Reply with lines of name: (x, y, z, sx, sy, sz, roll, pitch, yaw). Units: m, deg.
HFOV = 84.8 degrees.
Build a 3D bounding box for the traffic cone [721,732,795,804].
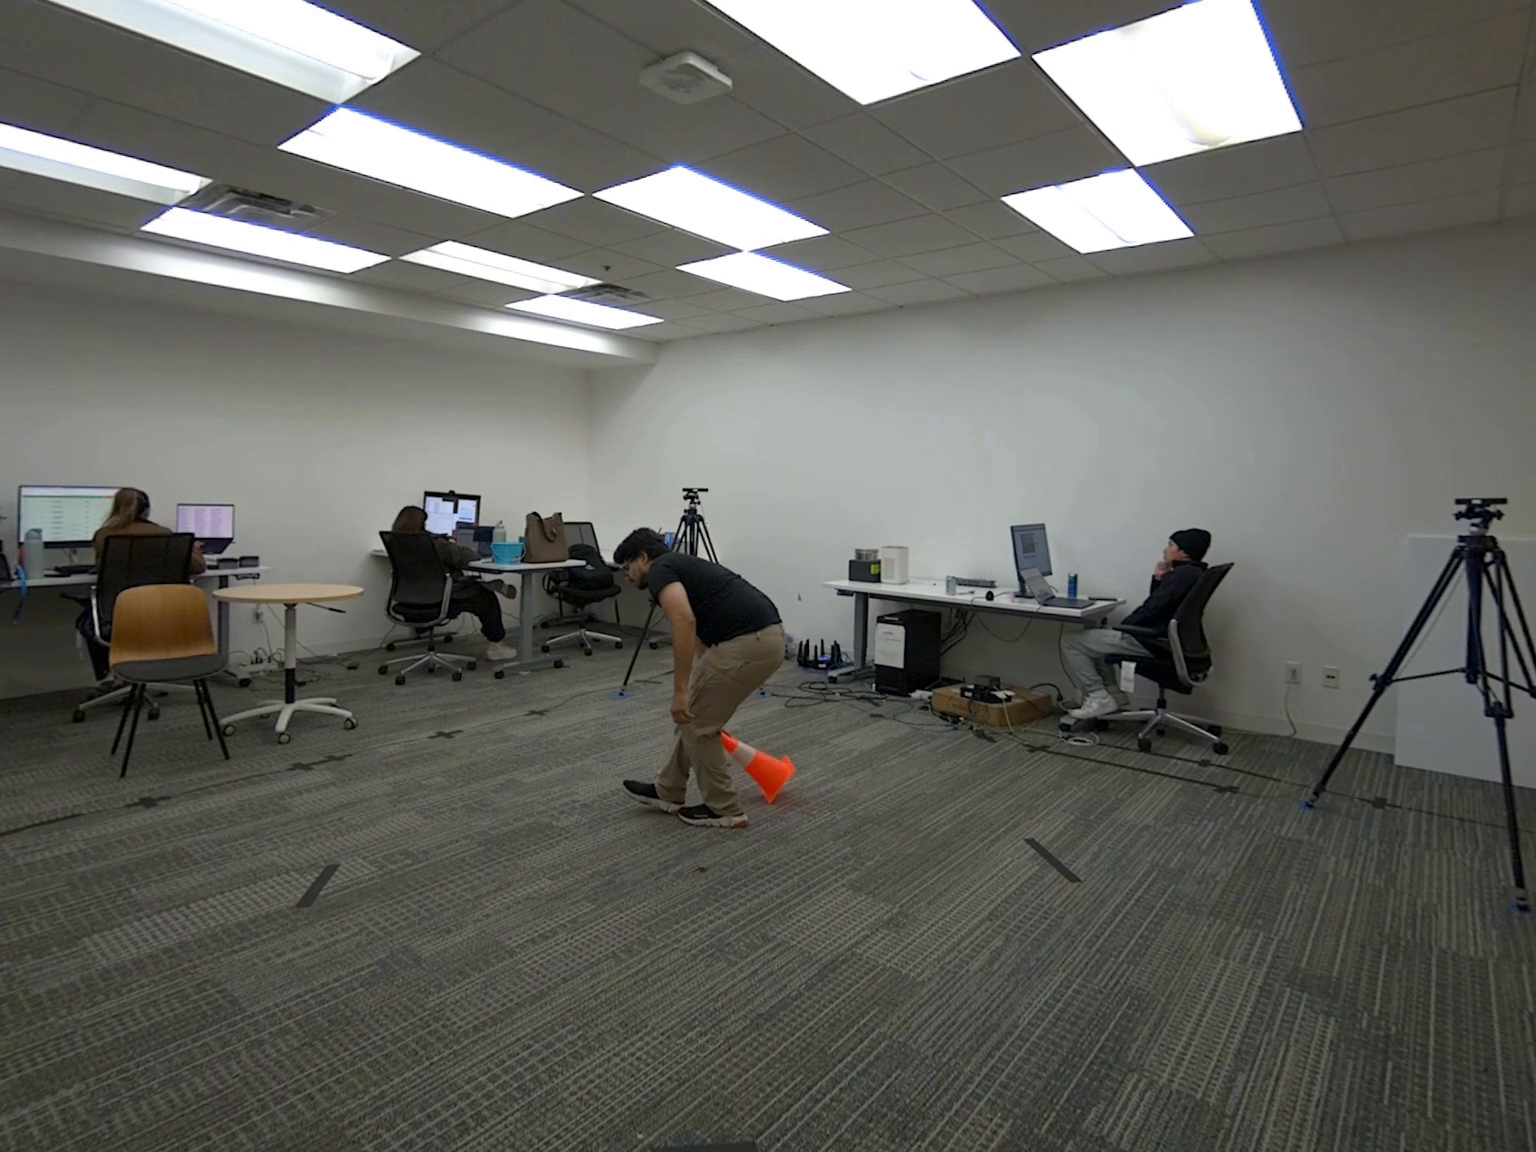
traffic cone: (-0.108, 0.812, 3.852, 0.380, 0.205, 0.205, 37, -3, -6)
